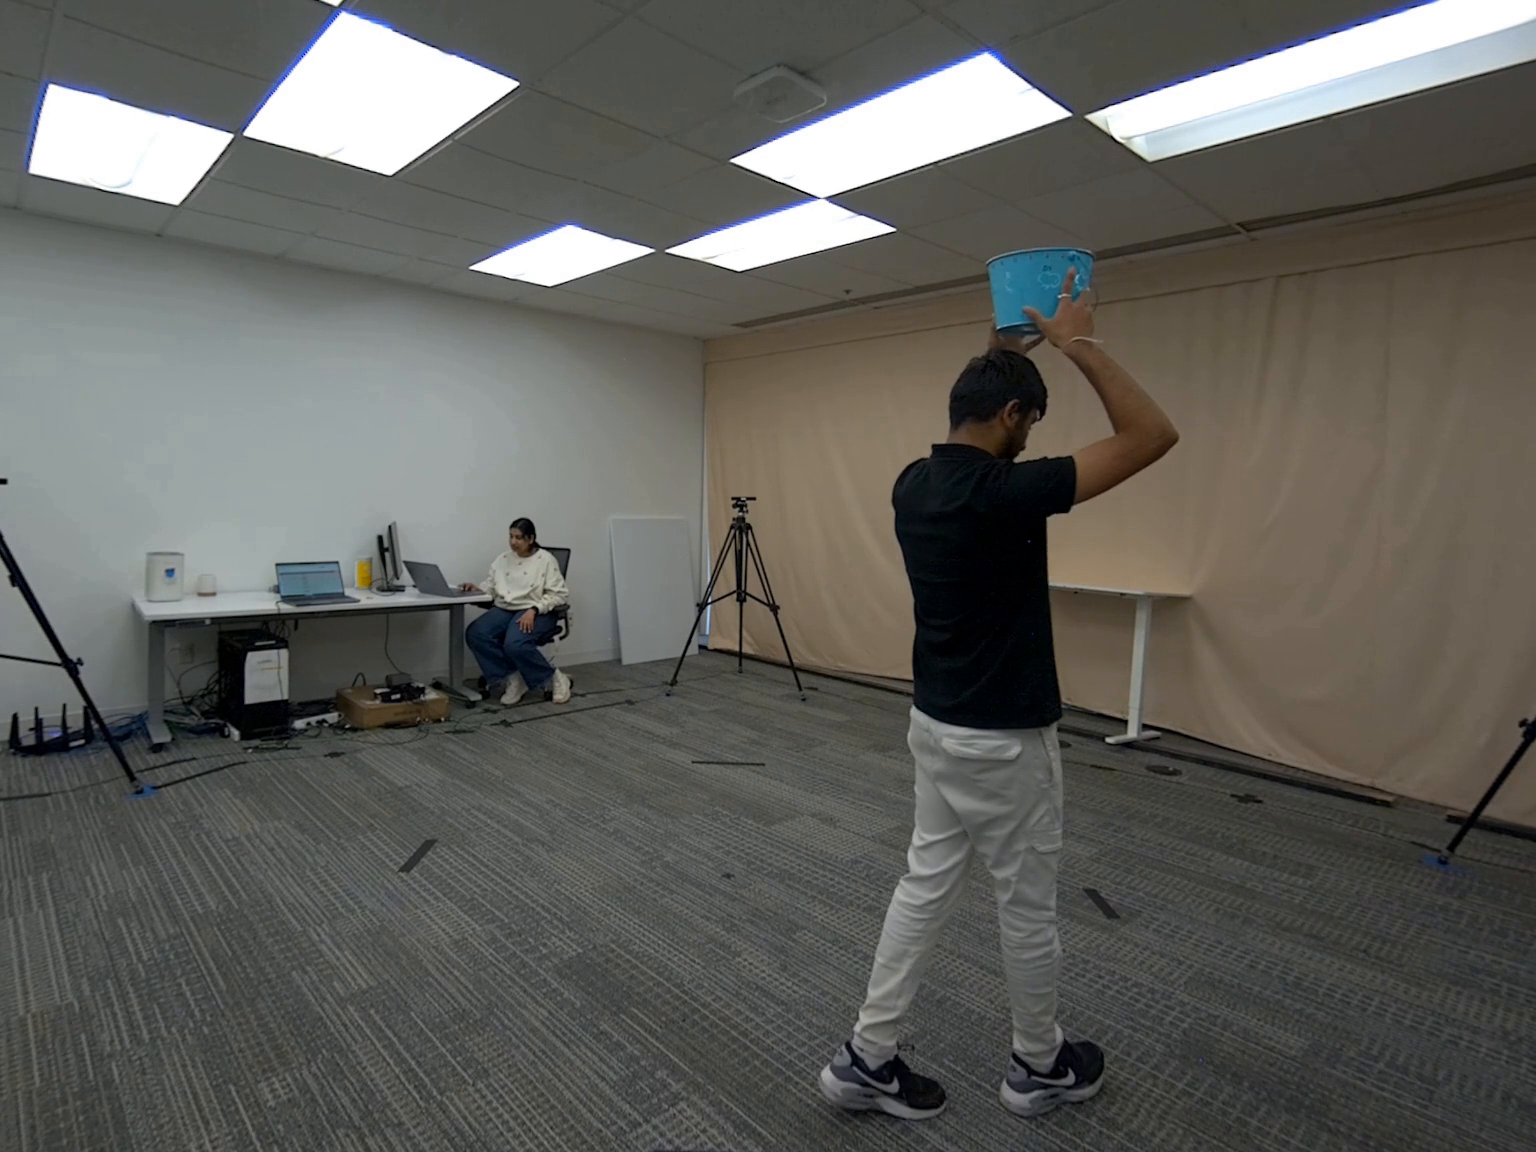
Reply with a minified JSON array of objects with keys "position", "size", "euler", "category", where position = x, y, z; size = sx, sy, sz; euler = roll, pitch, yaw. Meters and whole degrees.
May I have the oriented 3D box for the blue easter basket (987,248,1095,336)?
[{"position":[0.618,-0.642,1.899],"size":[0.243,0.155,0.245],"euler":[0,7,-1],"category":"blue easter basket"}]
